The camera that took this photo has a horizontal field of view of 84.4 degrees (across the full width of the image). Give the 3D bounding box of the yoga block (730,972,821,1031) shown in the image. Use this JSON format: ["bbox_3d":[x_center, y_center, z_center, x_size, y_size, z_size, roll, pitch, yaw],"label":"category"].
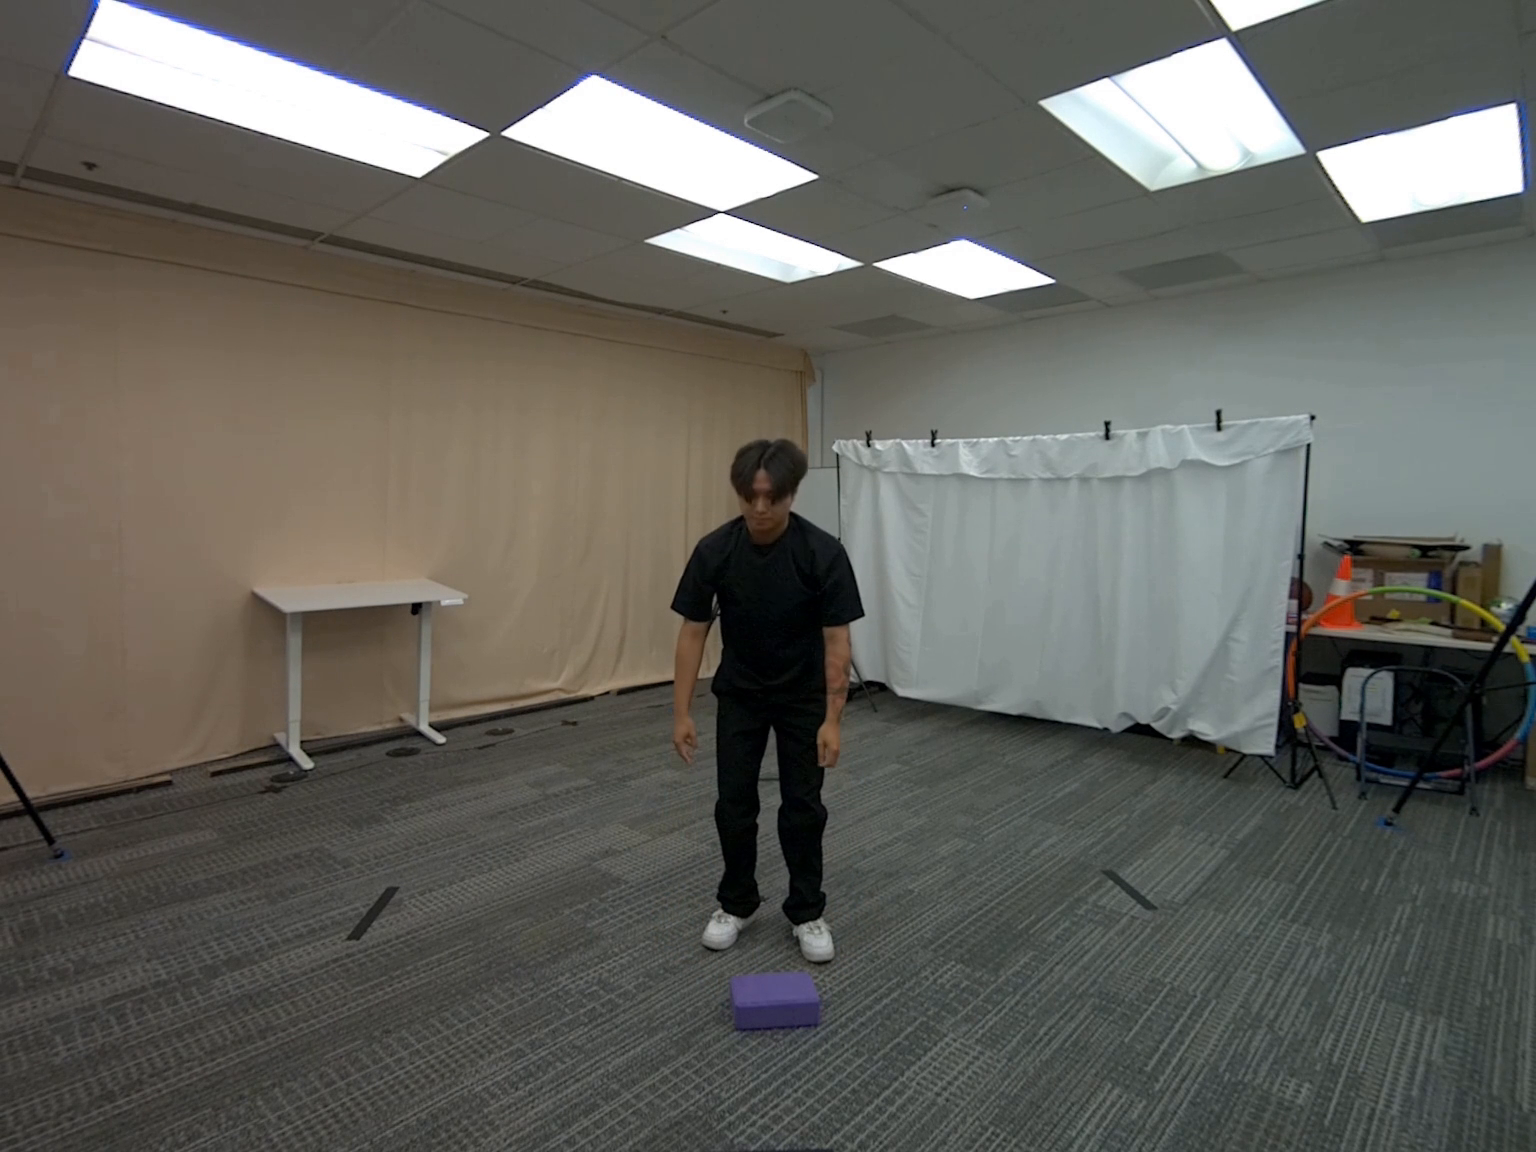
[{"bbox_3d":[0.008,1.156,2.308,0.228,0.076,0.150,1,3,-4],"label":"yoga block"}]
